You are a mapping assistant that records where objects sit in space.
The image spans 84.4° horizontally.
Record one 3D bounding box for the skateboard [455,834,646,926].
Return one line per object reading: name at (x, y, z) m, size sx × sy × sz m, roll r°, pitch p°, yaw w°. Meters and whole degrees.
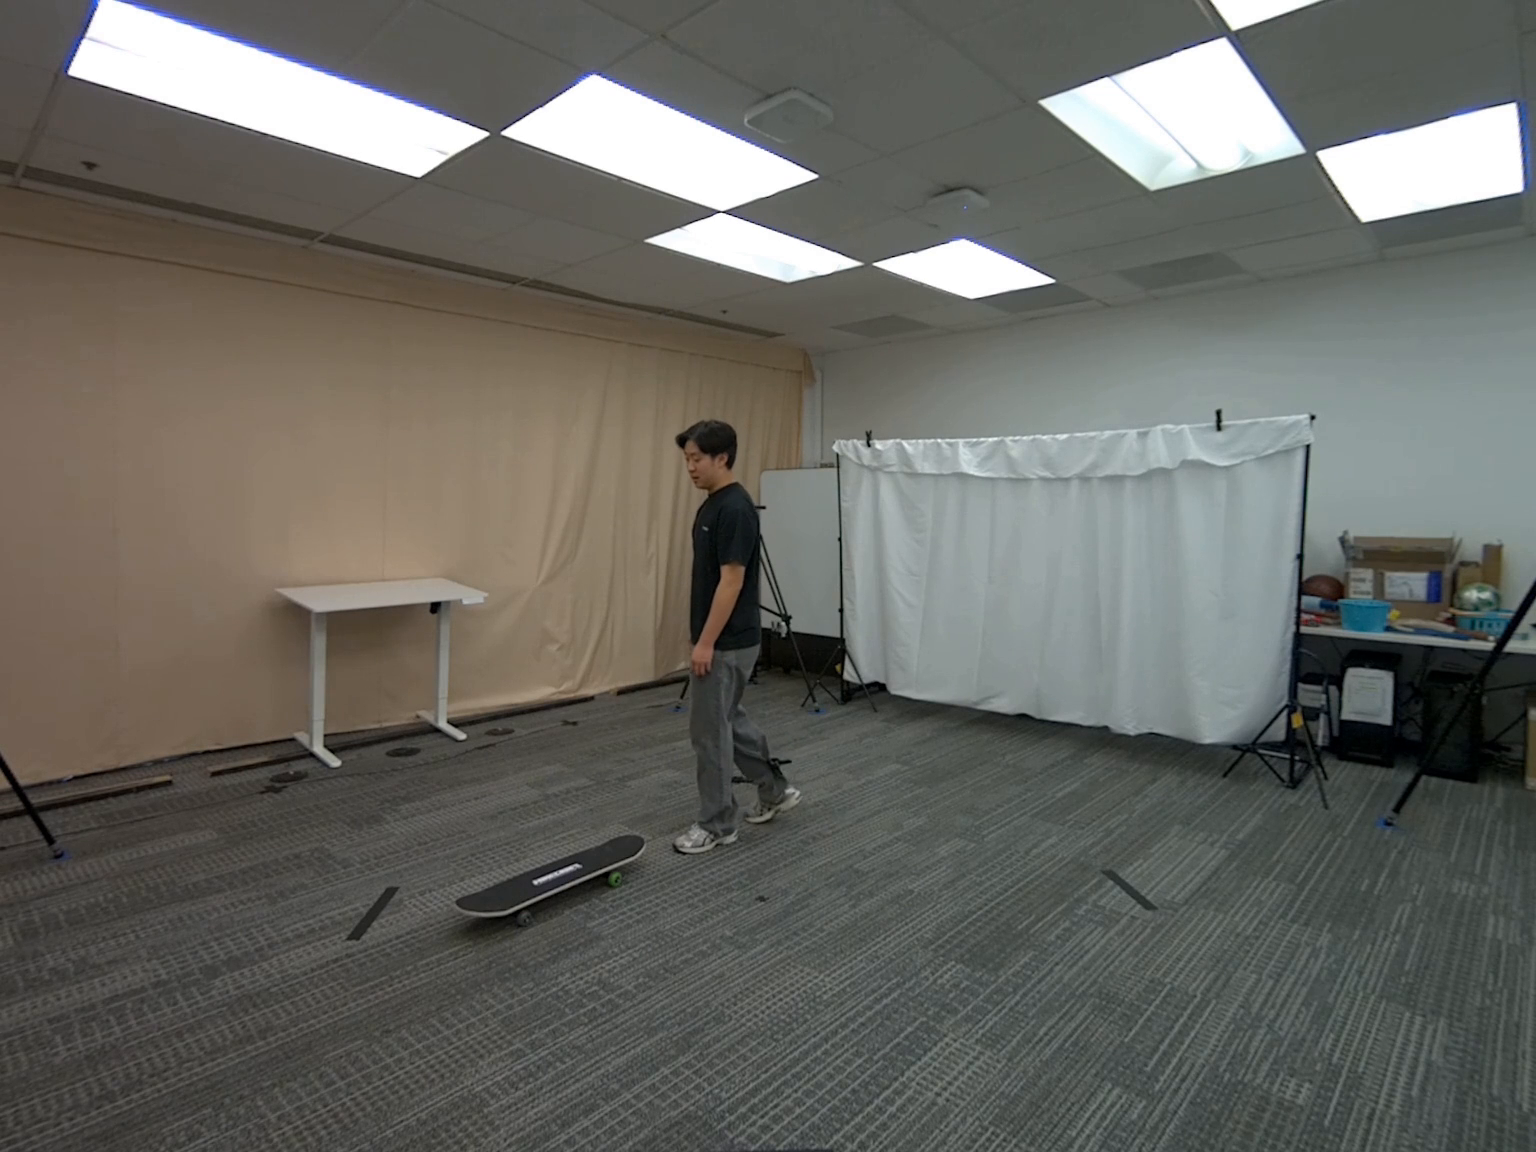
skateboard at (-0.746, 1.093, 2.994) m, size 0.200 × 0.110 × 0.762 m, roll 3°, pitch 6°, yaw 40°
